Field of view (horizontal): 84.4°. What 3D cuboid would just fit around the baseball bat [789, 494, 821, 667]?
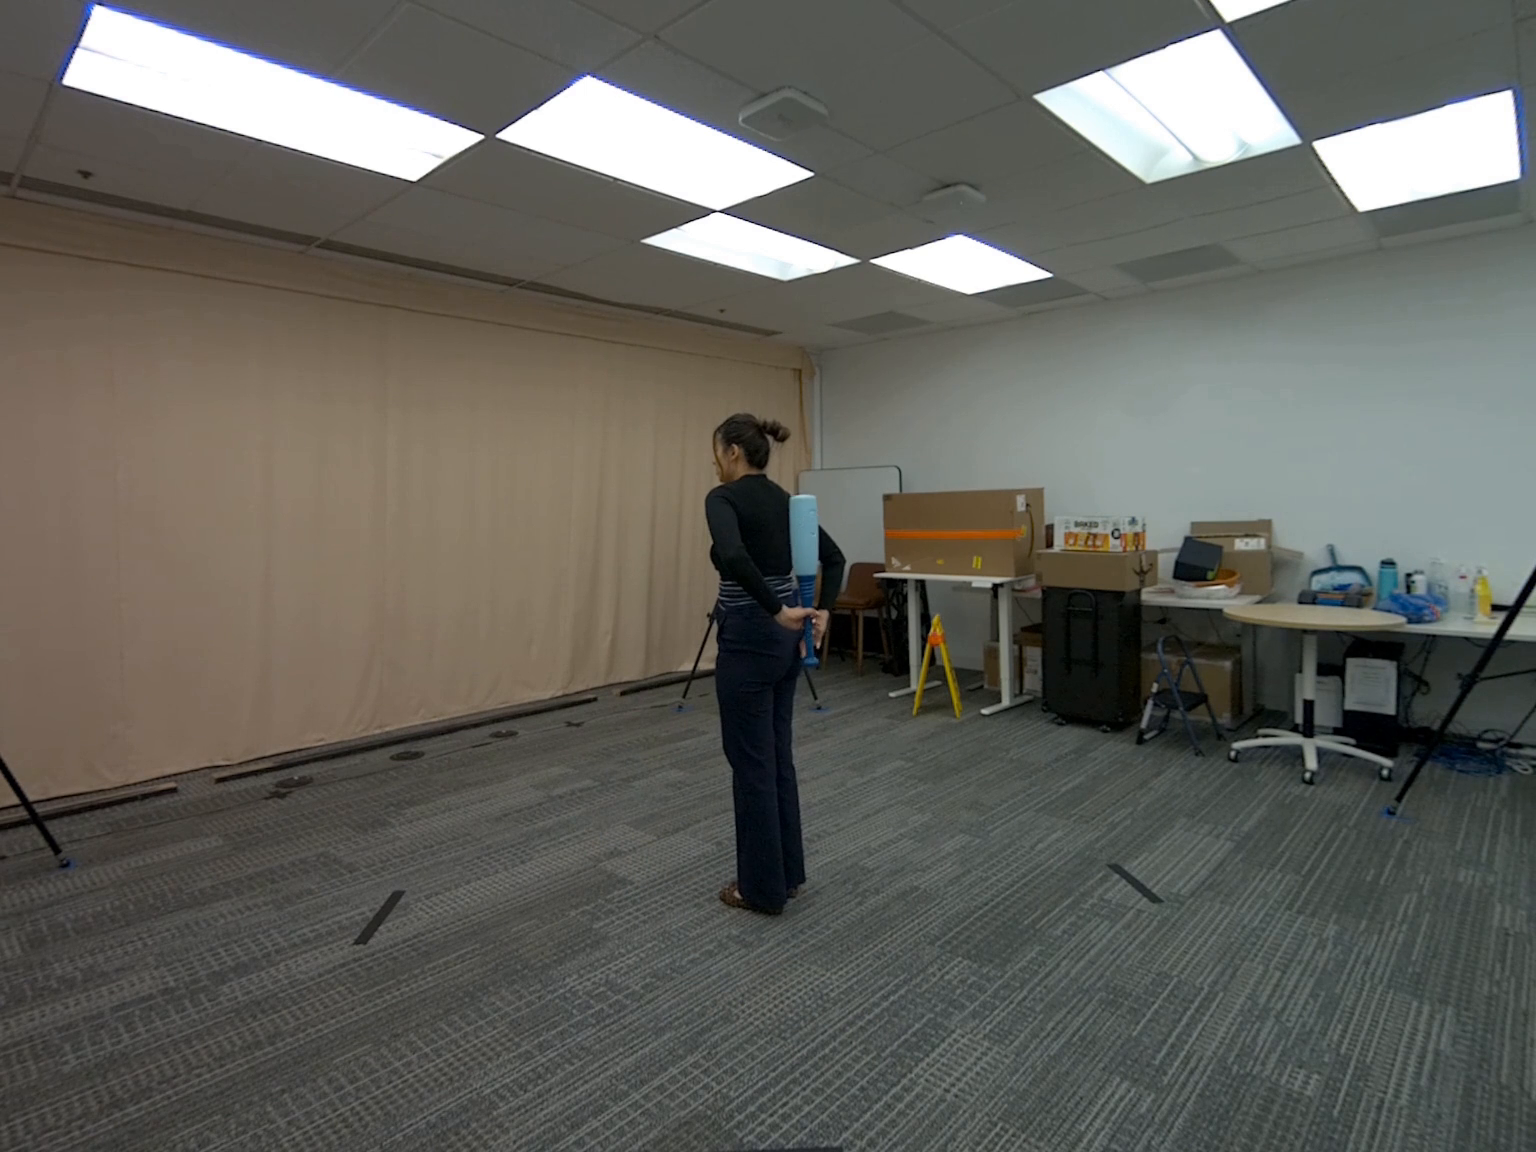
[{"bbox_3d":[0.131,0.028,2.657,0.089,0.541,0.089,-3,4,-2],"label":"baseball bat"}]
